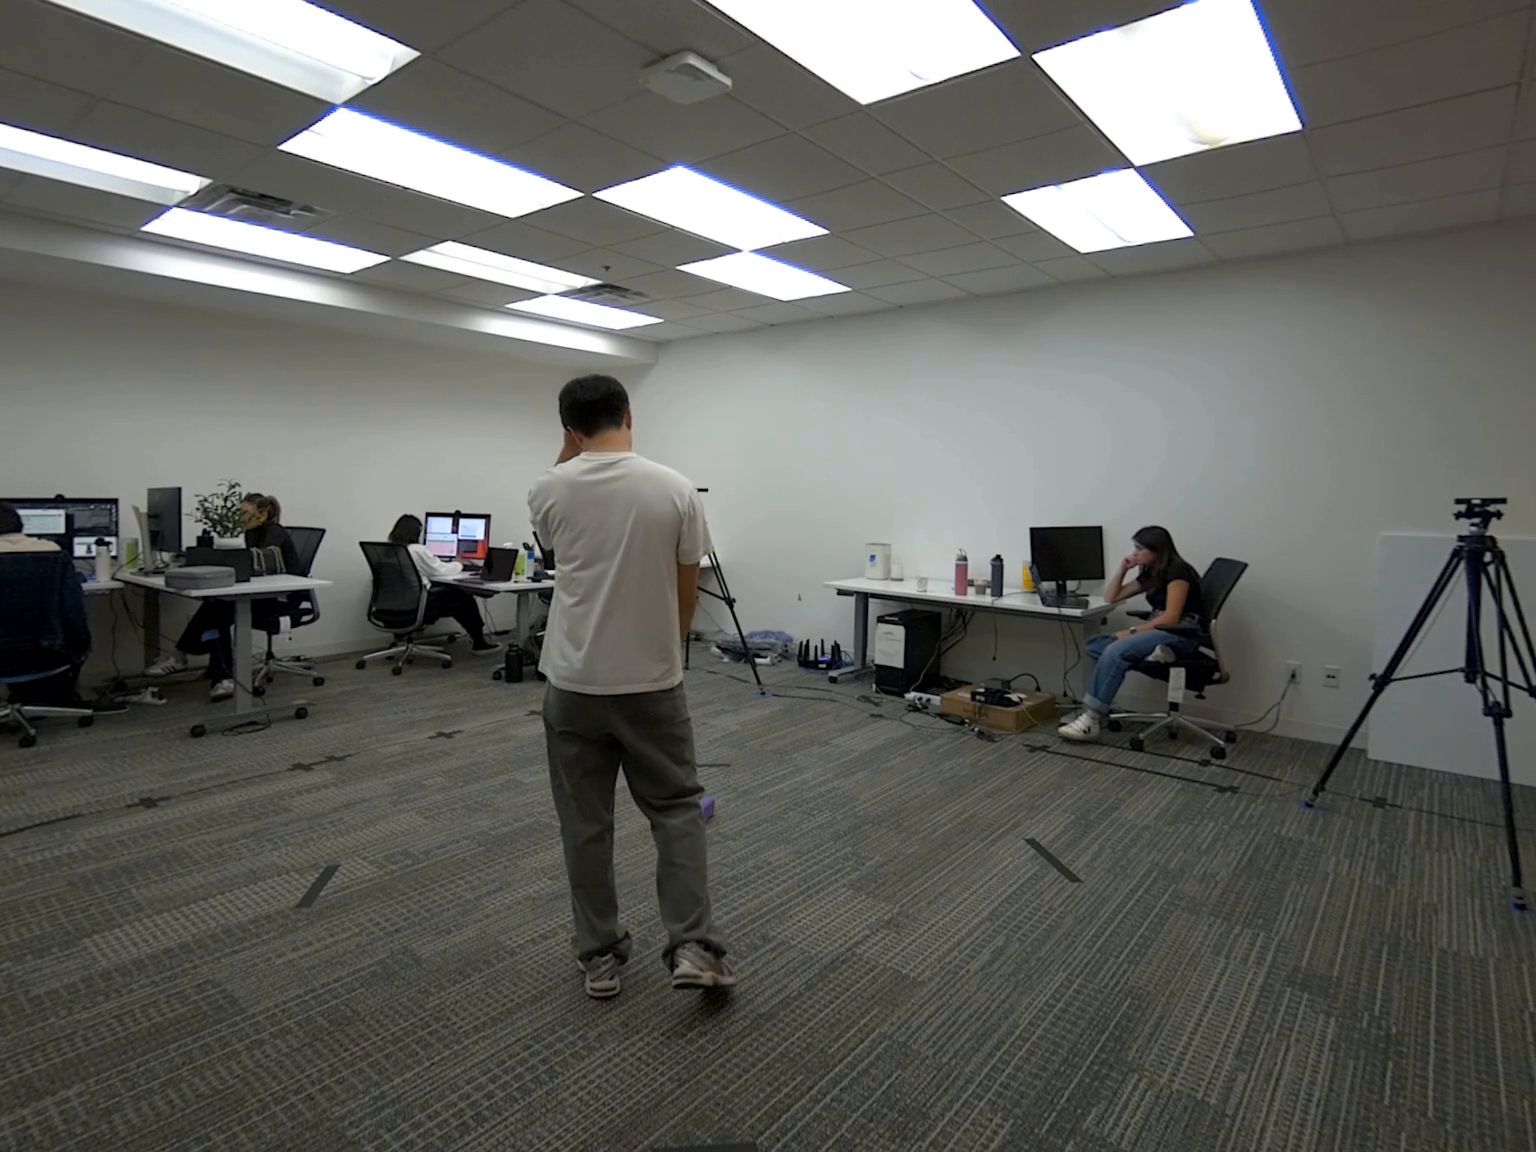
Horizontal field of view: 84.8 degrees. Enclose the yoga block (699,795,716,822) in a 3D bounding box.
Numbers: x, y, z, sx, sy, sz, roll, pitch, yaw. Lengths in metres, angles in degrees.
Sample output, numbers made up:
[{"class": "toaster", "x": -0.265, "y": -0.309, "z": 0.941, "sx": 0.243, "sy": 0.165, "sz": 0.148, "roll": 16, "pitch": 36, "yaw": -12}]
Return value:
[{"class": "yoga block", "x": -0.351, "y": 0.966, "z": 3.607, "sx": 0.235, "sy": 0.076, "sz": 0.146, "roll": 3, "pitch": 5, "yaw": 22}]
